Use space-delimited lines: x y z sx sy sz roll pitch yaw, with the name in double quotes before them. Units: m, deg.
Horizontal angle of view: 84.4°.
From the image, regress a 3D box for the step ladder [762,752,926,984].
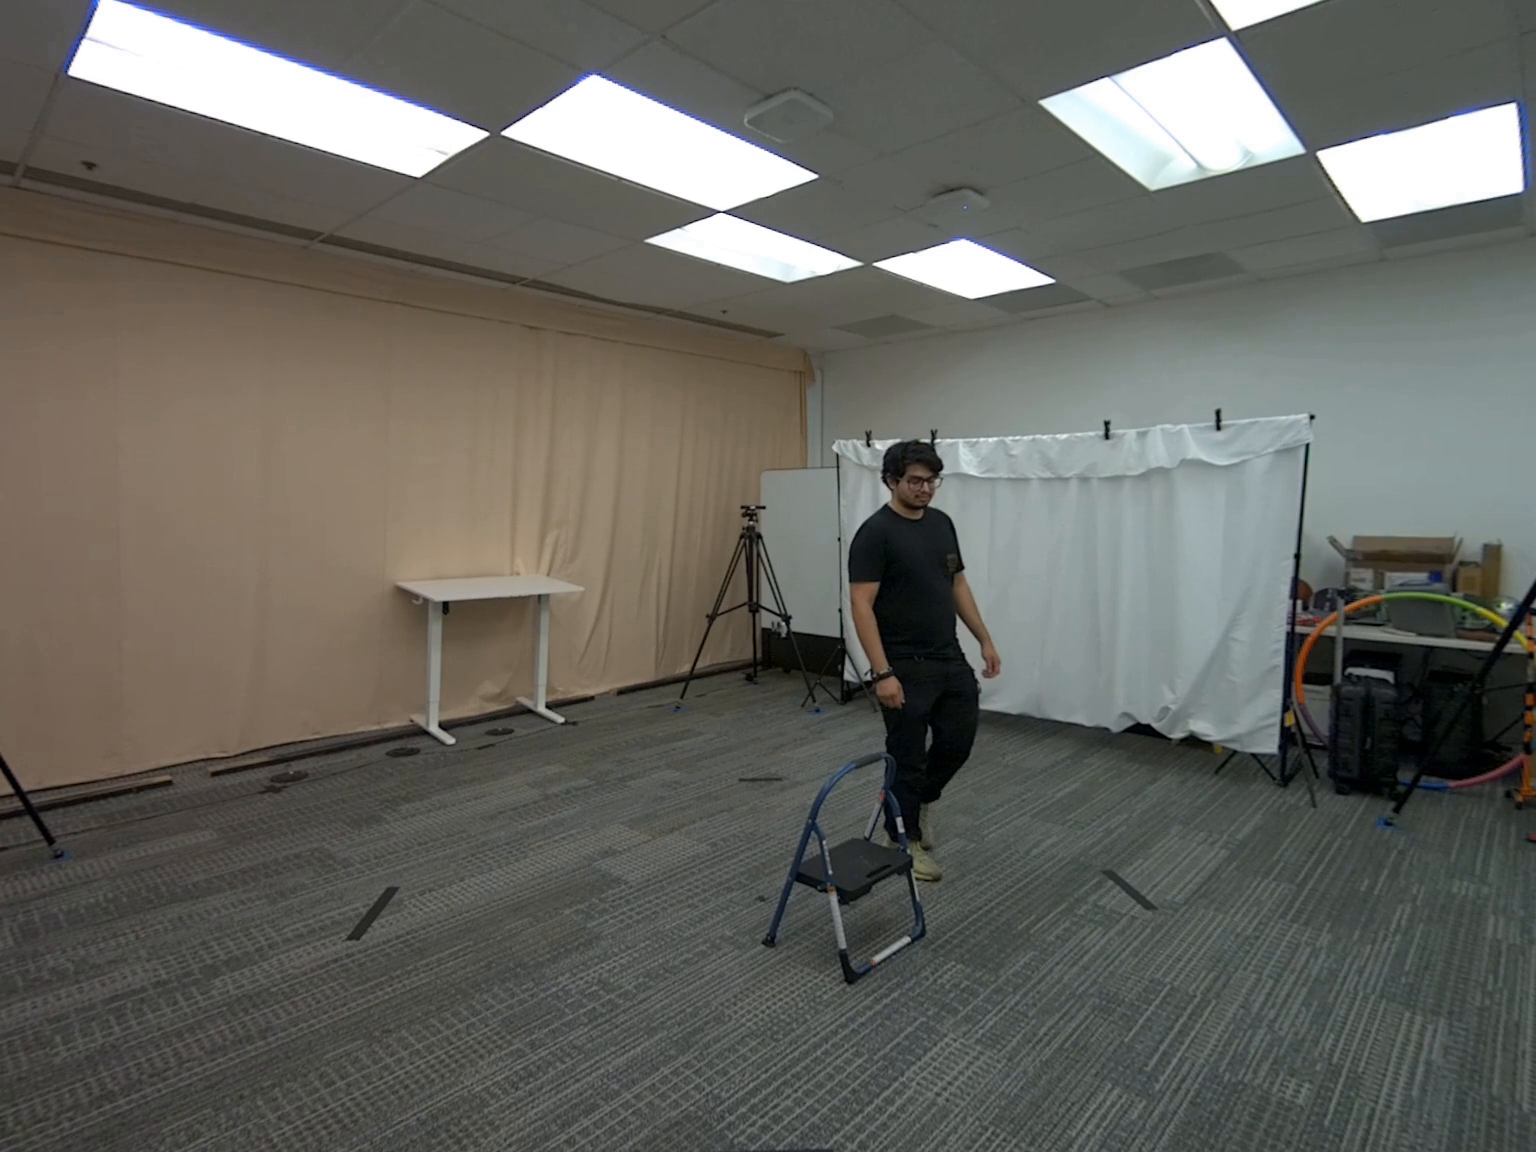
"step ladder" 0.252 0.863 2.689 0.361 0.605 0.417 3 5 43
